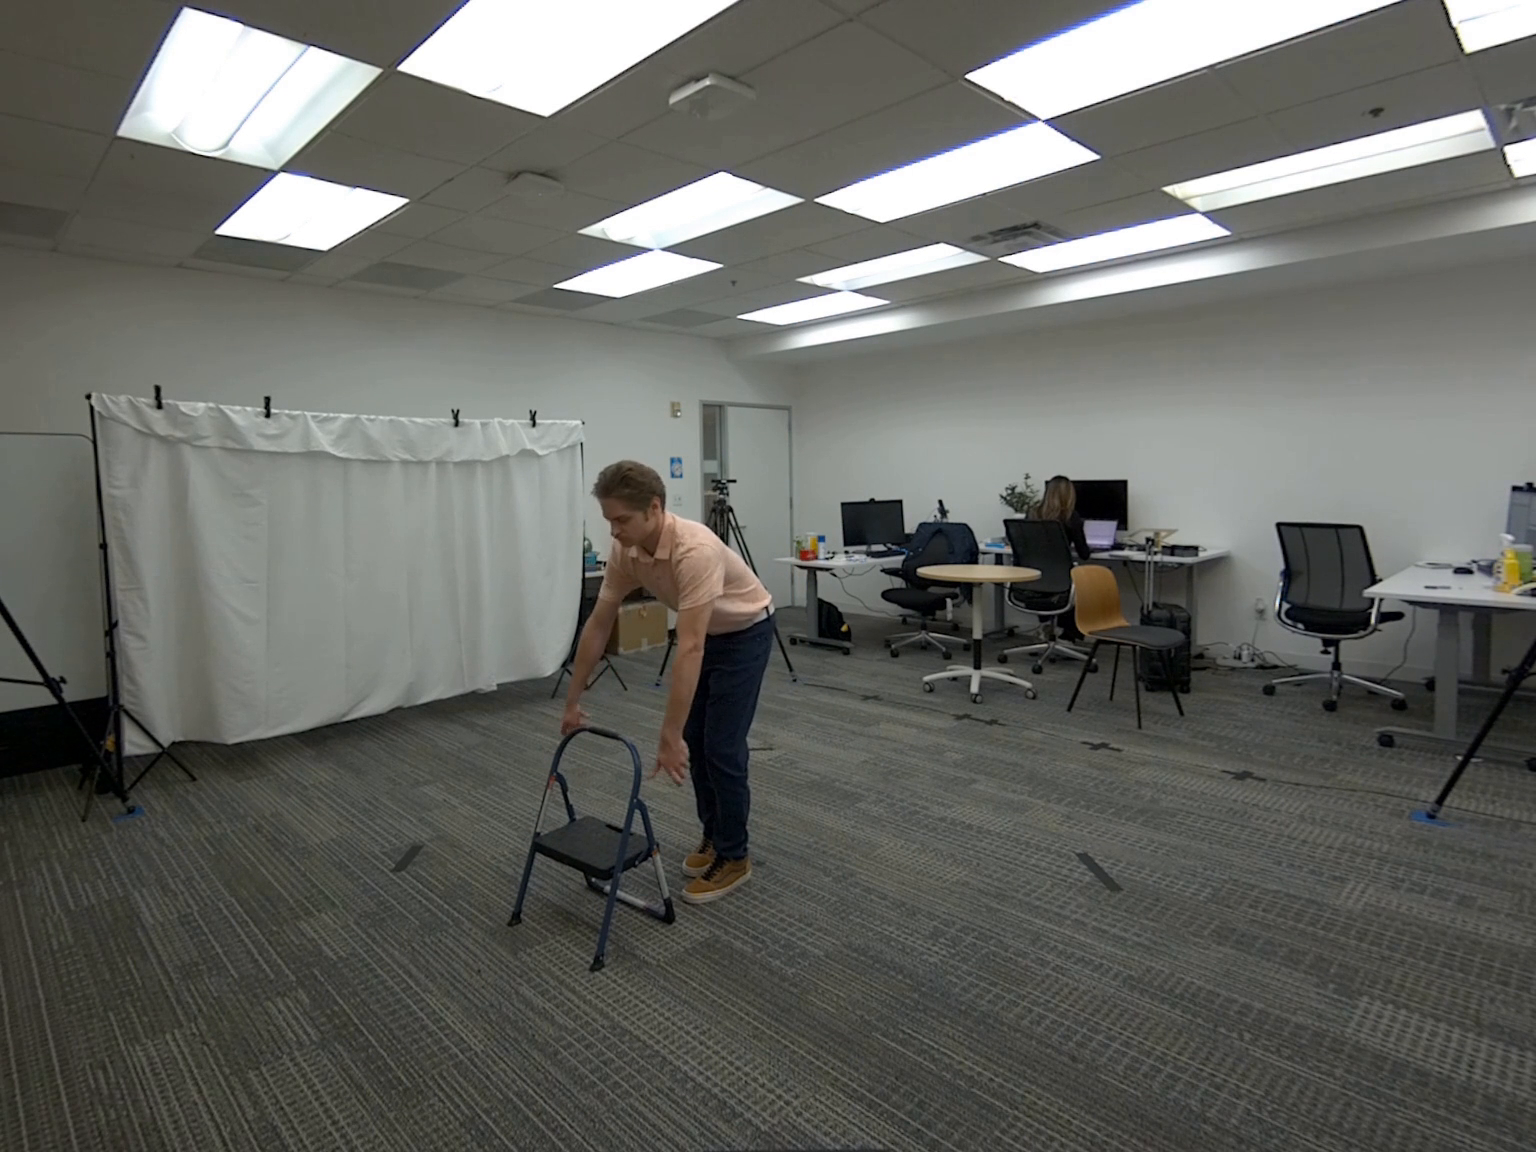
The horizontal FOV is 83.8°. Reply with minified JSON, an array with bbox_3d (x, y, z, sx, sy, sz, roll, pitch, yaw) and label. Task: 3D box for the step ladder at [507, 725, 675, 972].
[{"bbox_3d":[-0.559,0.803,2.692,0.443,0.604,0.340,3,6,39],"label":"step ladder"}]
